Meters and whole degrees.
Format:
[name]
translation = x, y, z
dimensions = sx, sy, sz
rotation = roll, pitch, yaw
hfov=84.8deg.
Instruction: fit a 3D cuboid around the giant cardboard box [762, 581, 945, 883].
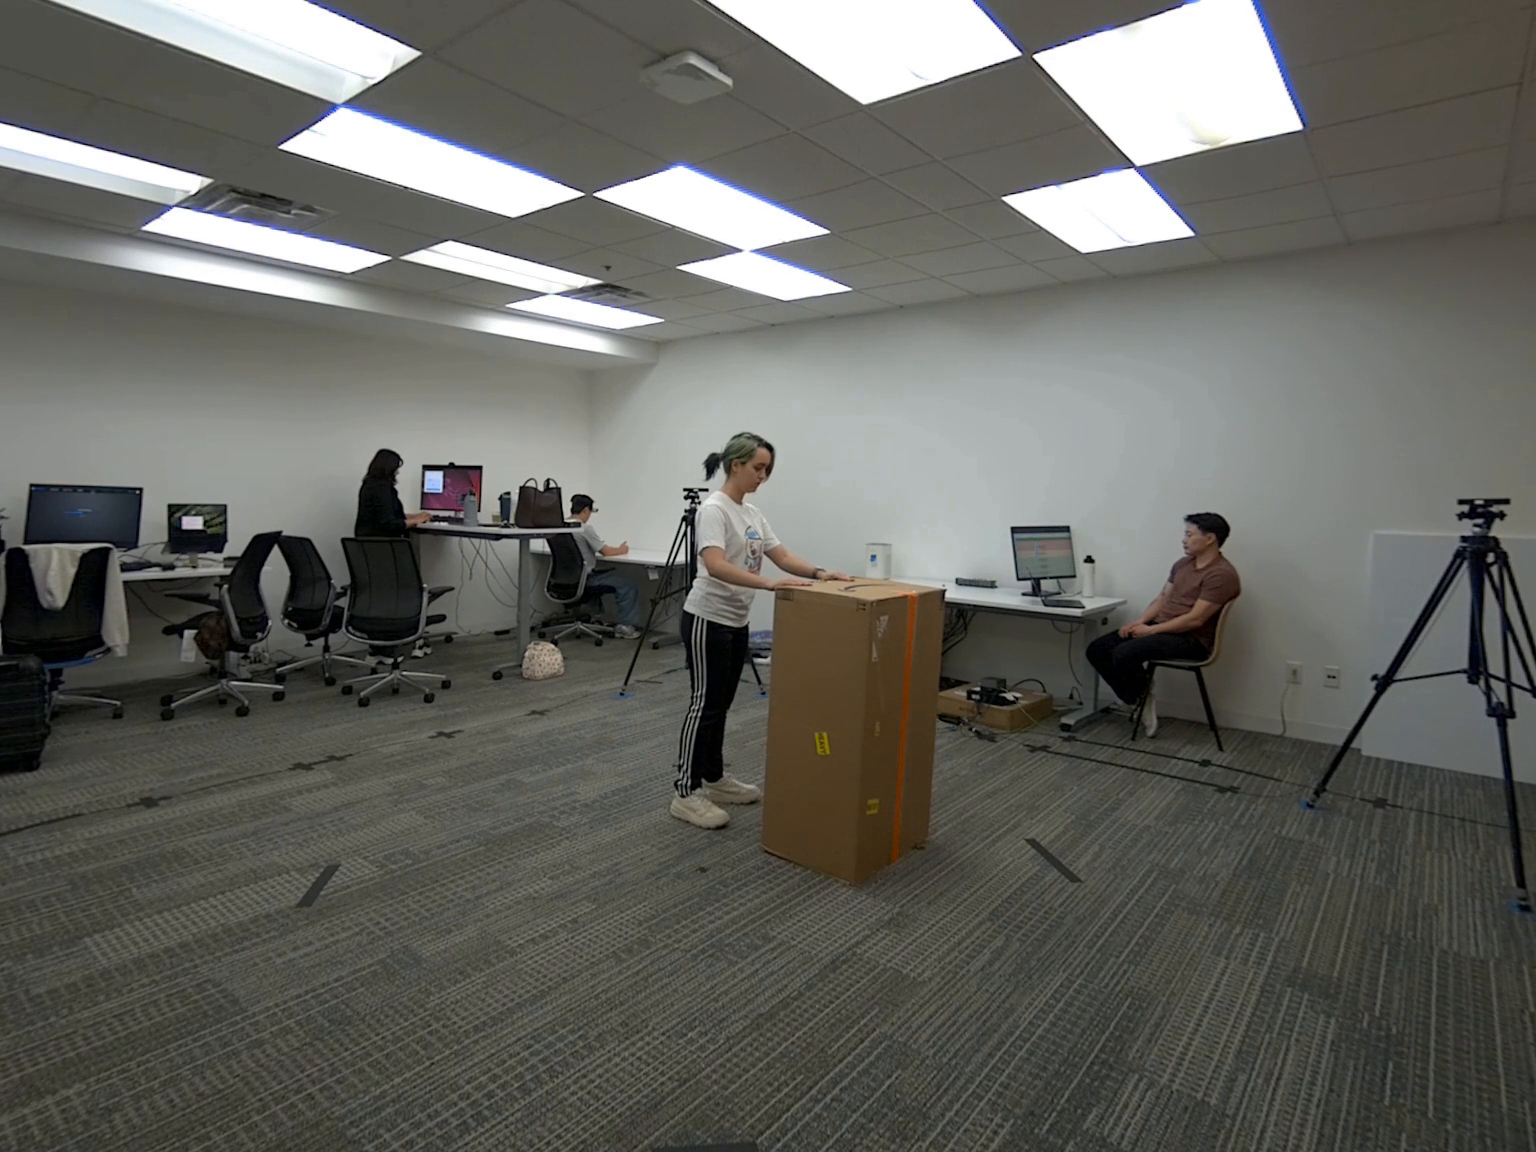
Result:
[giant cardboard box]
translation = 0.335, 0.553, 3.312
dimensions = 0.462, 1.024, 0.566
rotation = 5, 5, 38
